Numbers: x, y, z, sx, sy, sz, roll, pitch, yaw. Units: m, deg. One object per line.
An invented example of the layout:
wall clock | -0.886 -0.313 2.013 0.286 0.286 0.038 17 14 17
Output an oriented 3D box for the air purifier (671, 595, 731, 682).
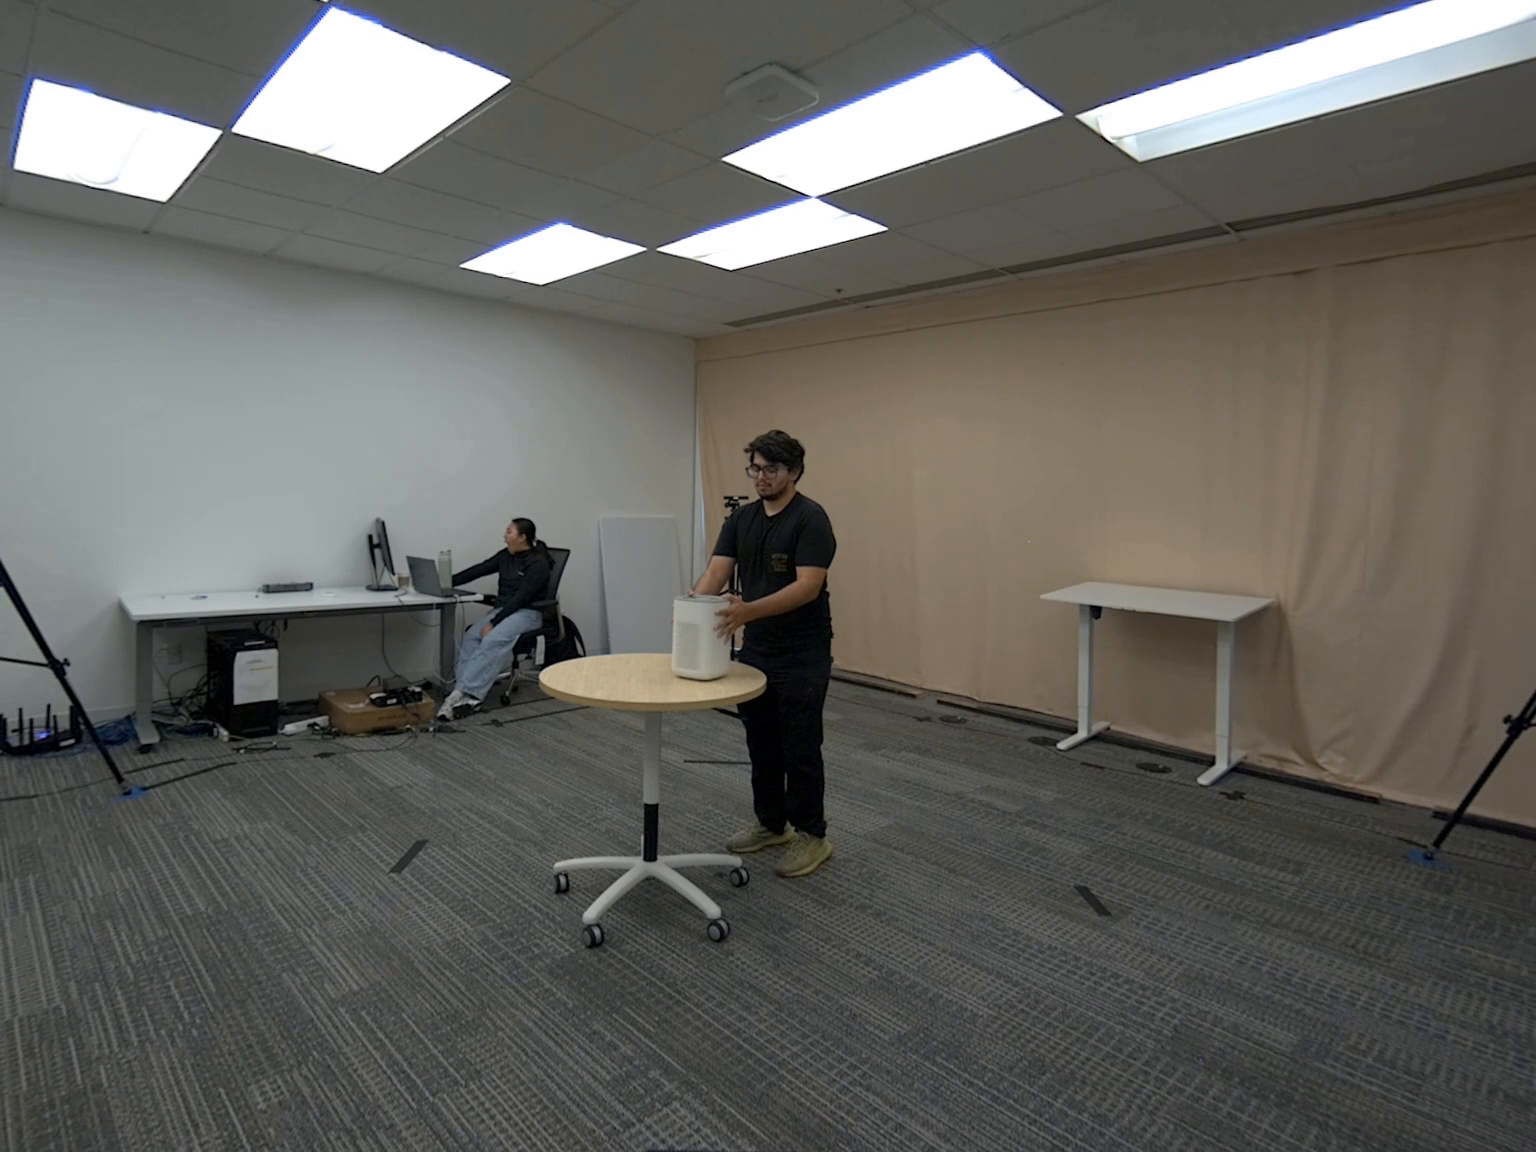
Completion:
air purifier | -0.229 0.208 2.851 0.175 0.265 0.167 3 2 30
